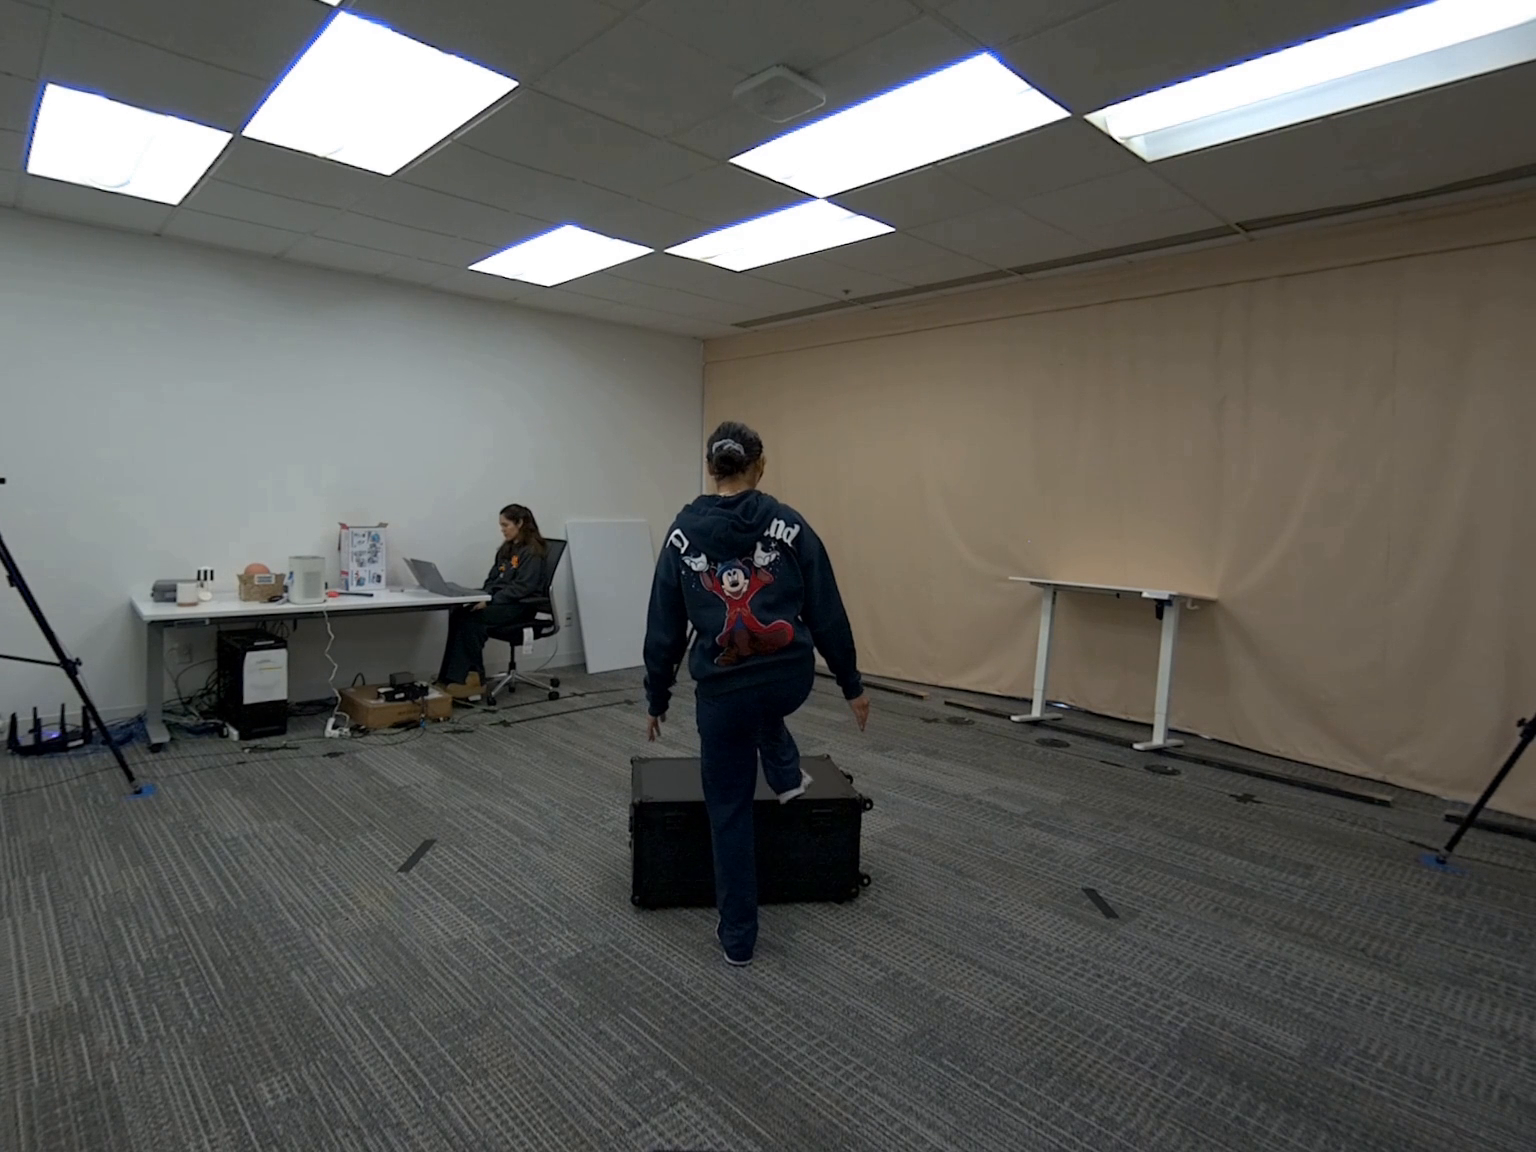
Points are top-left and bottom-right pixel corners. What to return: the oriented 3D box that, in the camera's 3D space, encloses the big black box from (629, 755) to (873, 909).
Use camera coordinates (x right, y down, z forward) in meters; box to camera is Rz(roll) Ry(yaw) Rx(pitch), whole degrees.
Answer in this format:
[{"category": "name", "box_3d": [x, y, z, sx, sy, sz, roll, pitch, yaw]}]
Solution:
[{"category": "big black box", "box_3d": [-0.076, 0.918, 3.088, 0.855, 0.395, 0.526, 0, 5, -9]}]
